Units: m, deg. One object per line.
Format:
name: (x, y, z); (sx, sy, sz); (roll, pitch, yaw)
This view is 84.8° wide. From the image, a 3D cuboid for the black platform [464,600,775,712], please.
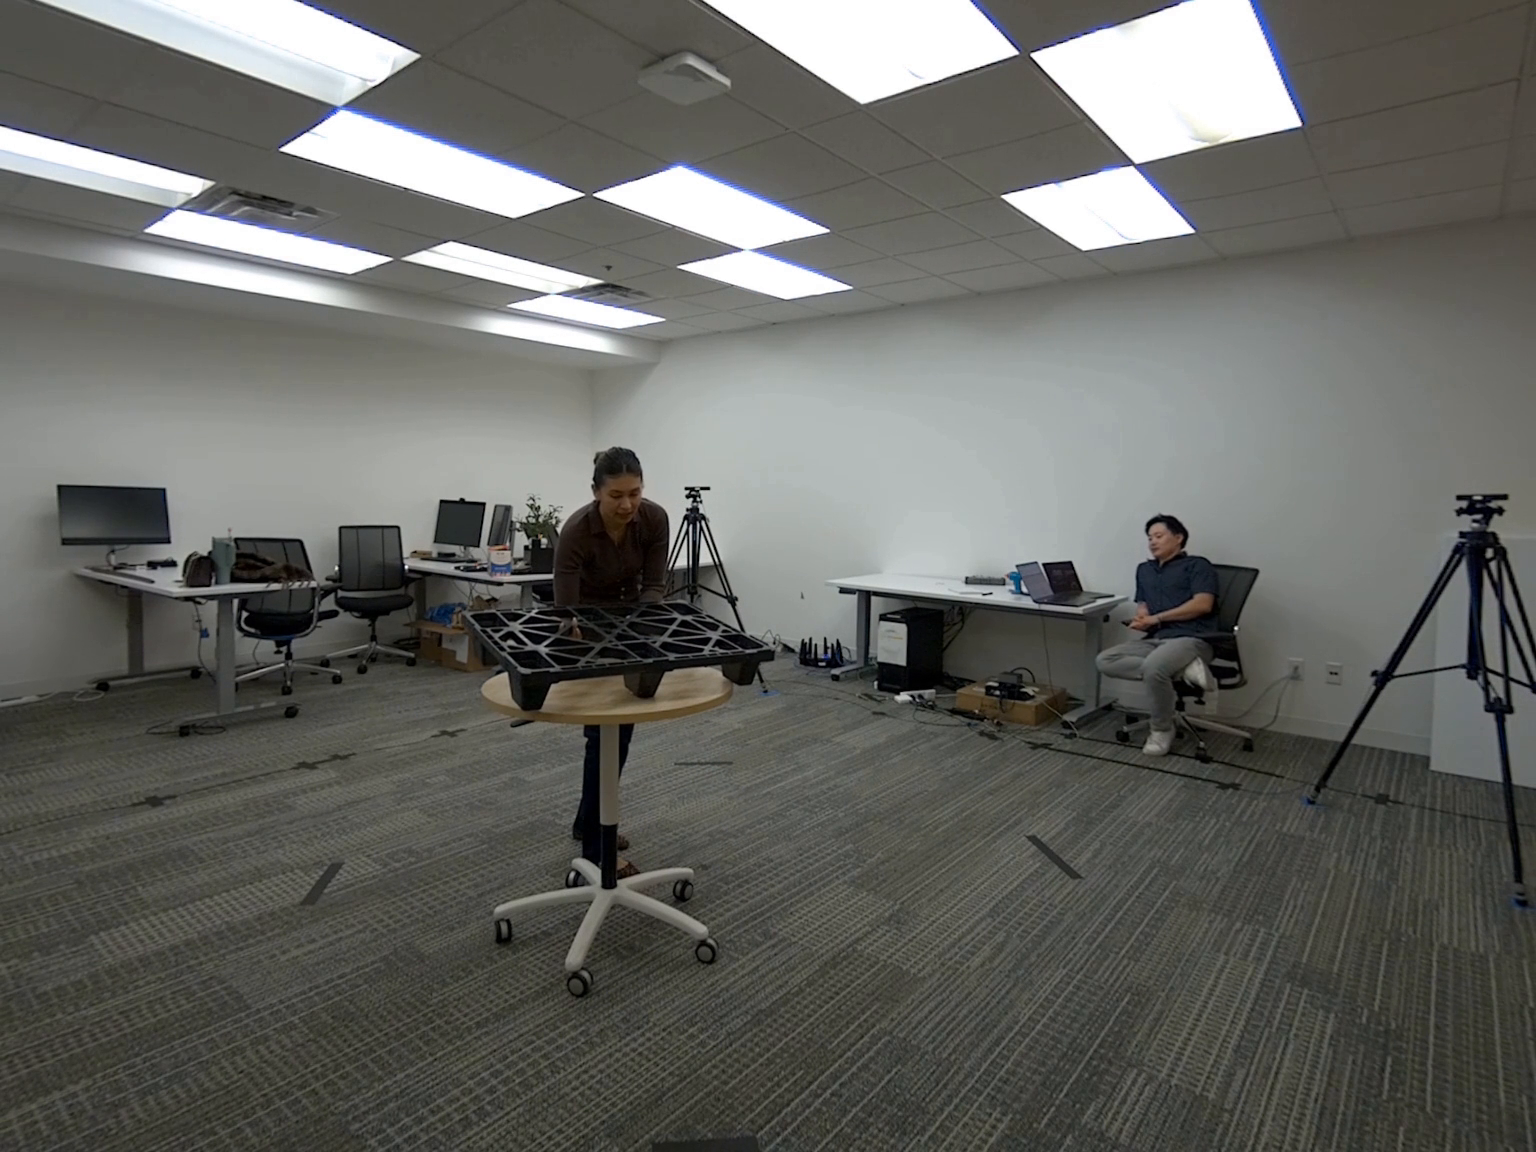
black platform: (-0.469, 0.229, 2.613); (0.783, 0.142, 0.628); (-3, 14, -33)
